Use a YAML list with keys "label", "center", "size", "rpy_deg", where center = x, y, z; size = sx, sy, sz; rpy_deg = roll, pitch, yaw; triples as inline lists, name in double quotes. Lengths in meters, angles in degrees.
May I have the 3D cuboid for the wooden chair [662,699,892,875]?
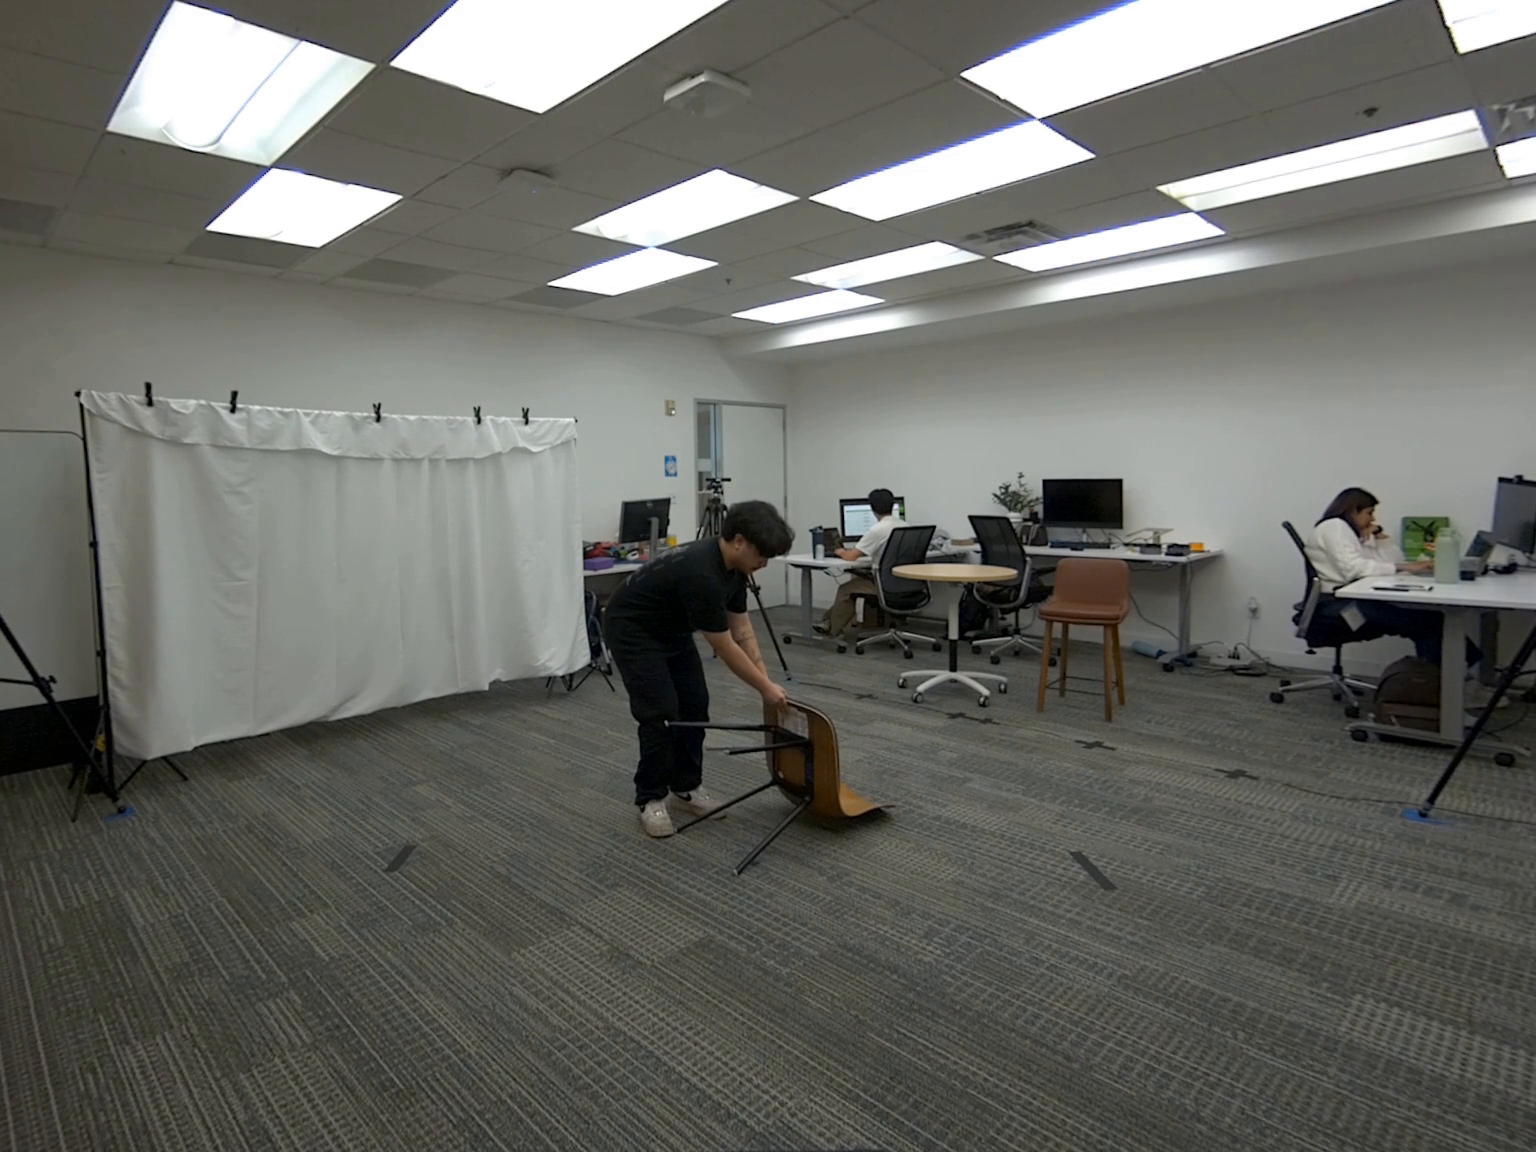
- label: "wooden chair"
  center: [0.091, 0.748, 3.388]
  size: [0.856, 0.521, 0.492]
  rpy_deg: [-4, 5, -33]
